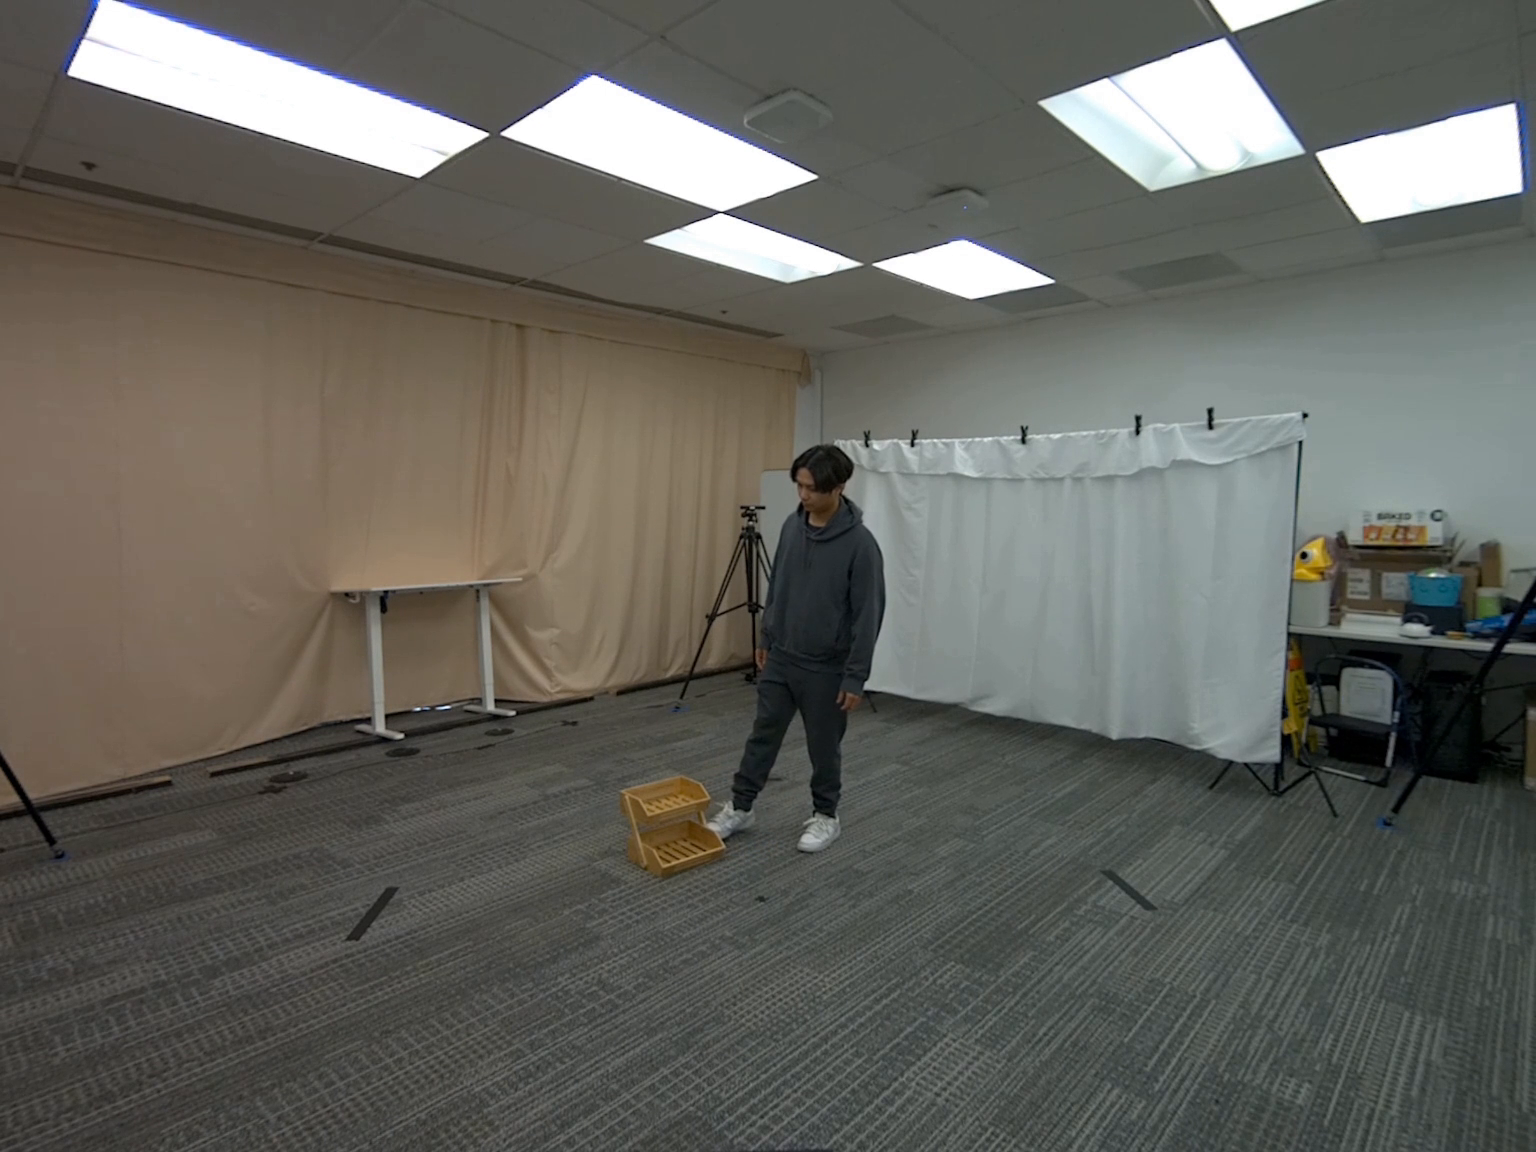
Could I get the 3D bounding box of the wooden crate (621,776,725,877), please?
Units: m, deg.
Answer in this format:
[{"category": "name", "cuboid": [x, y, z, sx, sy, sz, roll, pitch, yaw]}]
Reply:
[{"category": "wooden crate", "cuboid": [-0.377, 0.982, 3.343, 0.315, 0.273, 0.312, -4, 4, -39]}]
